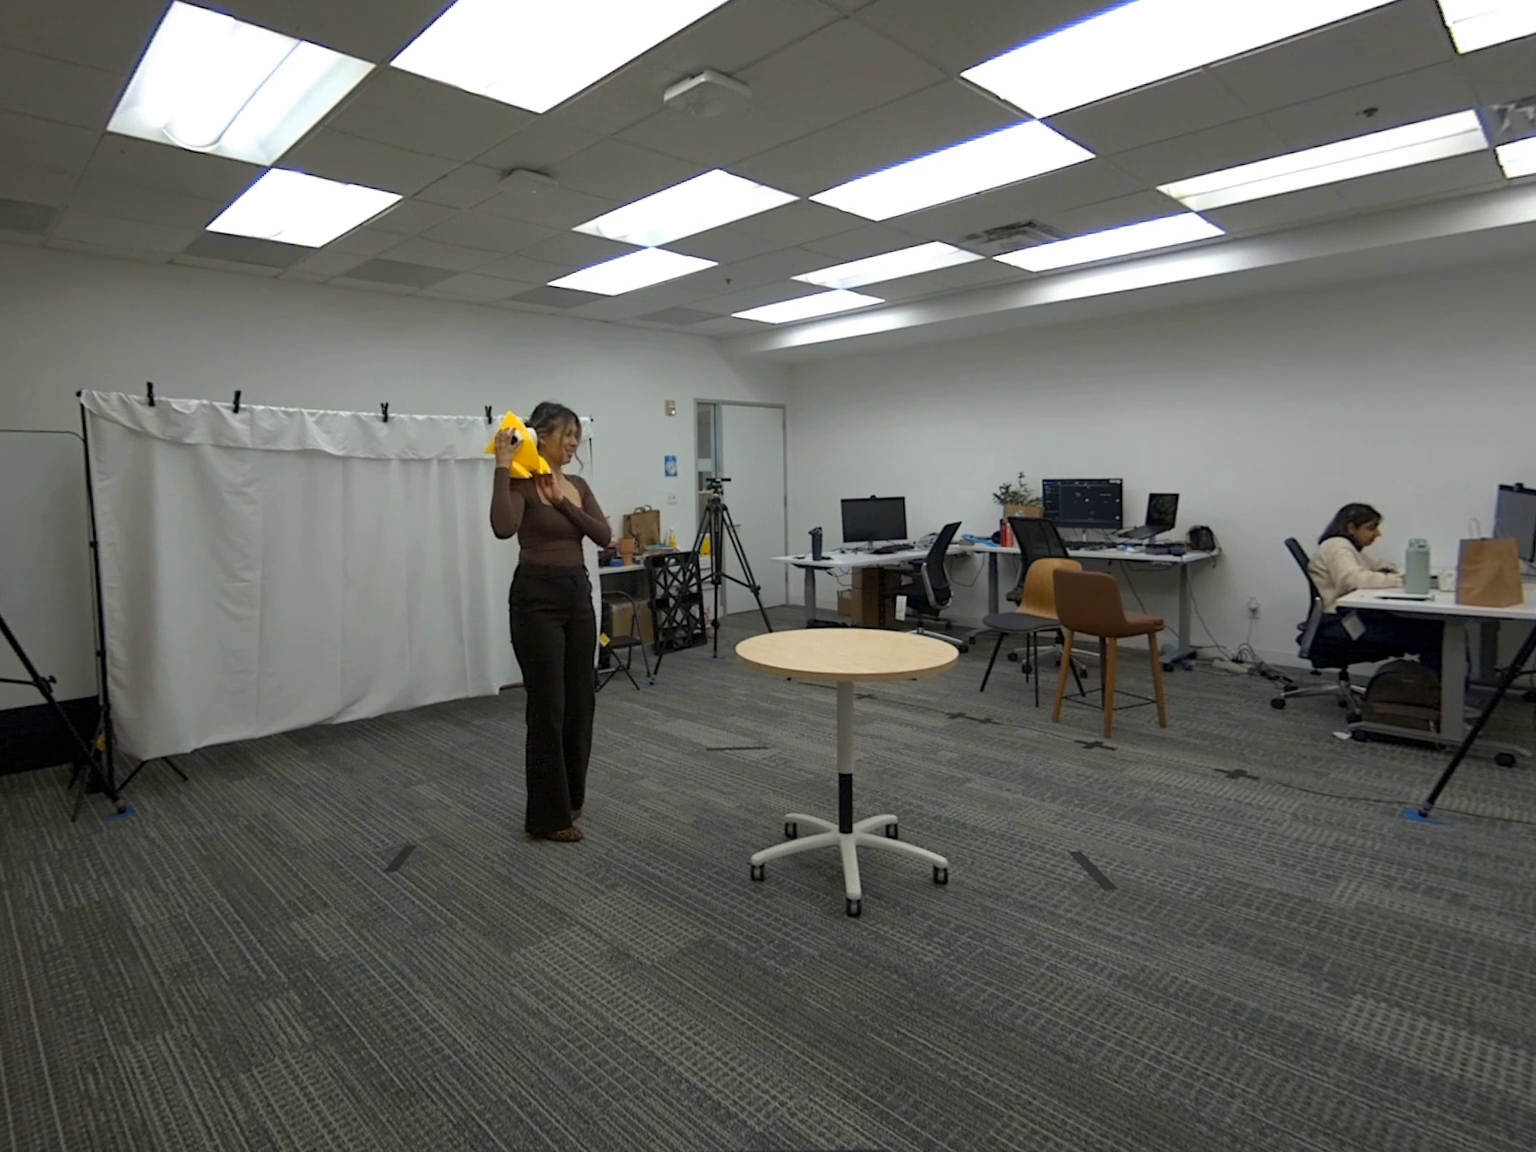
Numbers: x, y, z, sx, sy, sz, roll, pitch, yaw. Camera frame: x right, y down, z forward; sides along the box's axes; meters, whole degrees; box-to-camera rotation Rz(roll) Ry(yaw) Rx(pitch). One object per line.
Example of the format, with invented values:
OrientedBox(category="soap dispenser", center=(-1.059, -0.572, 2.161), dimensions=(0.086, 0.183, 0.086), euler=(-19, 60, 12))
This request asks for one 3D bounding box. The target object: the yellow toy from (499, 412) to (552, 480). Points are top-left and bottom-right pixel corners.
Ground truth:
OrientedBox(category="yellow toy", center=(-0.945, -0.507, 3.264), dimensions=(0.198, 0.228, 0.202), euler=(12, 18, 25))
